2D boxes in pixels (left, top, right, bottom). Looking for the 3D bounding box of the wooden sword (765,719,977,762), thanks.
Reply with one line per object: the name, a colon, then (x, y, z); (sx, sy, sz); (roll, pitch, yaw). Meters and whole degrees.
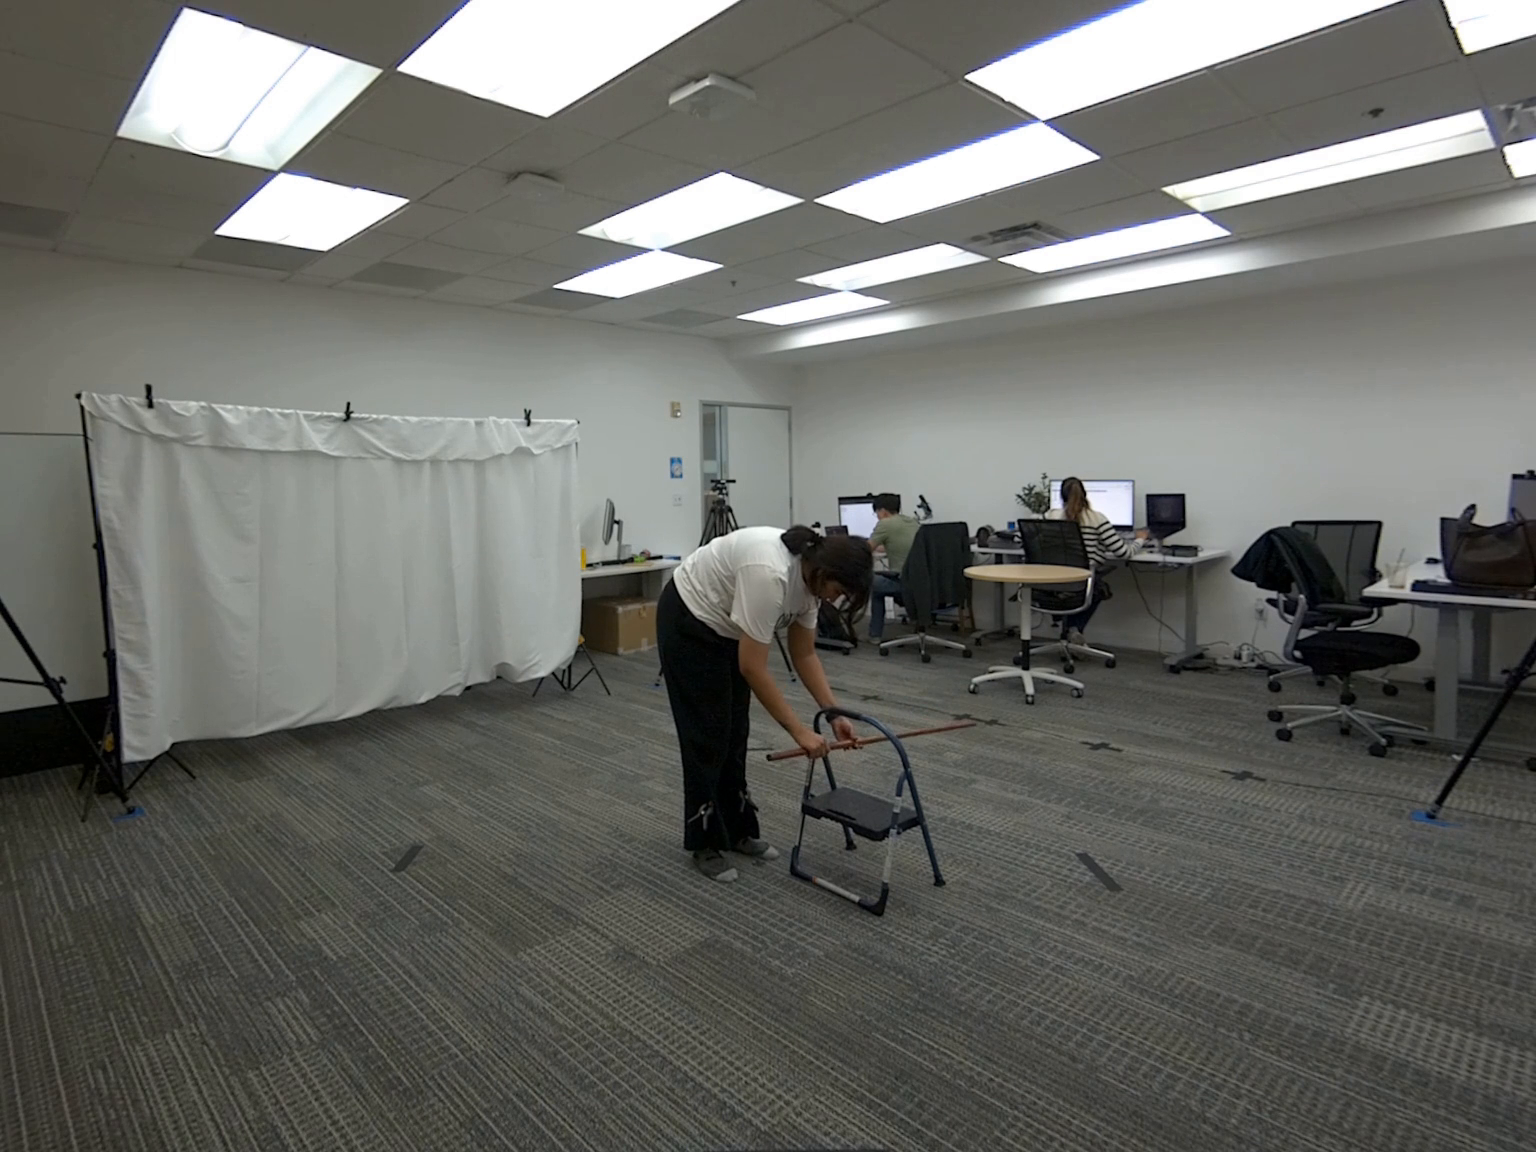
wooden sword: (0.382, 0.566, 3.049); (0.998, 0.025, 0.051); (-1, -41, -32)
